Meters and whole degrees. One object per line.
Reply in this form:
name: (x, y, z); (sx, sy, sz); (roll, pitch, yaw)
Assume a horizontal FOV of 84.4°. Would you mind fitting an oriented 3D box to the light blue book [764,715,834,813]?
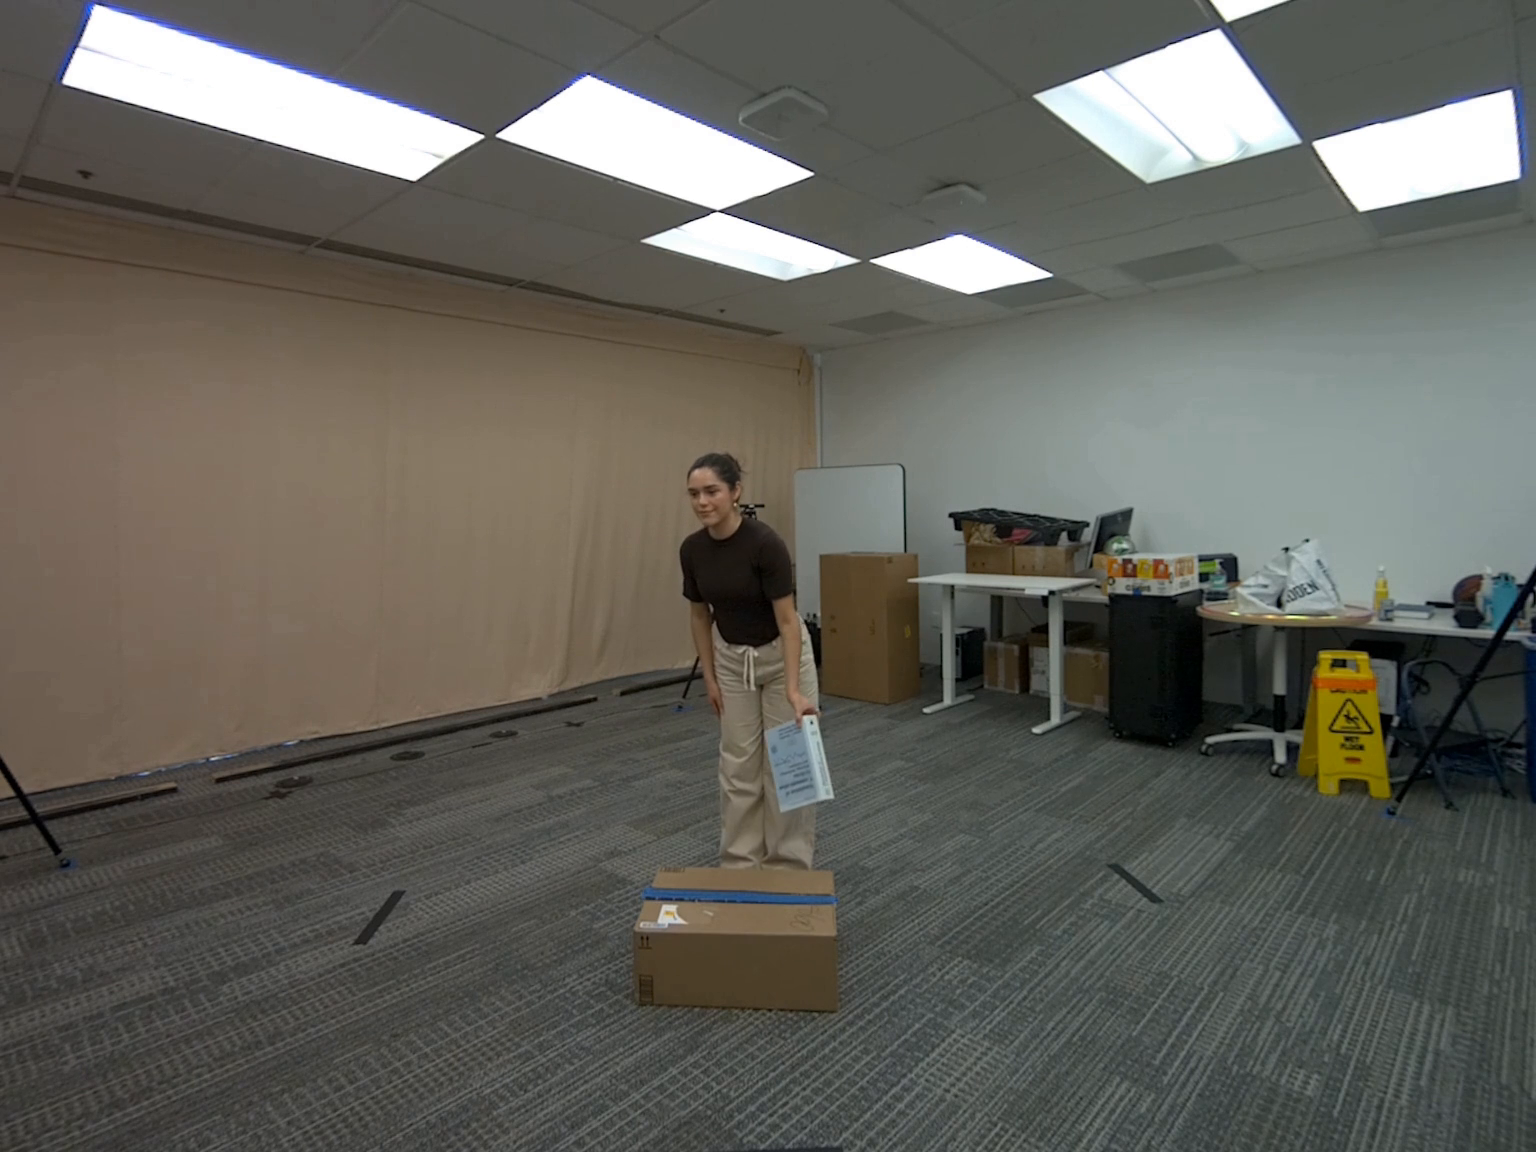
light blue book: (0.097, 0.593, 2.677); (0.057, 0.265, 0.194); (7, -29, -41)
